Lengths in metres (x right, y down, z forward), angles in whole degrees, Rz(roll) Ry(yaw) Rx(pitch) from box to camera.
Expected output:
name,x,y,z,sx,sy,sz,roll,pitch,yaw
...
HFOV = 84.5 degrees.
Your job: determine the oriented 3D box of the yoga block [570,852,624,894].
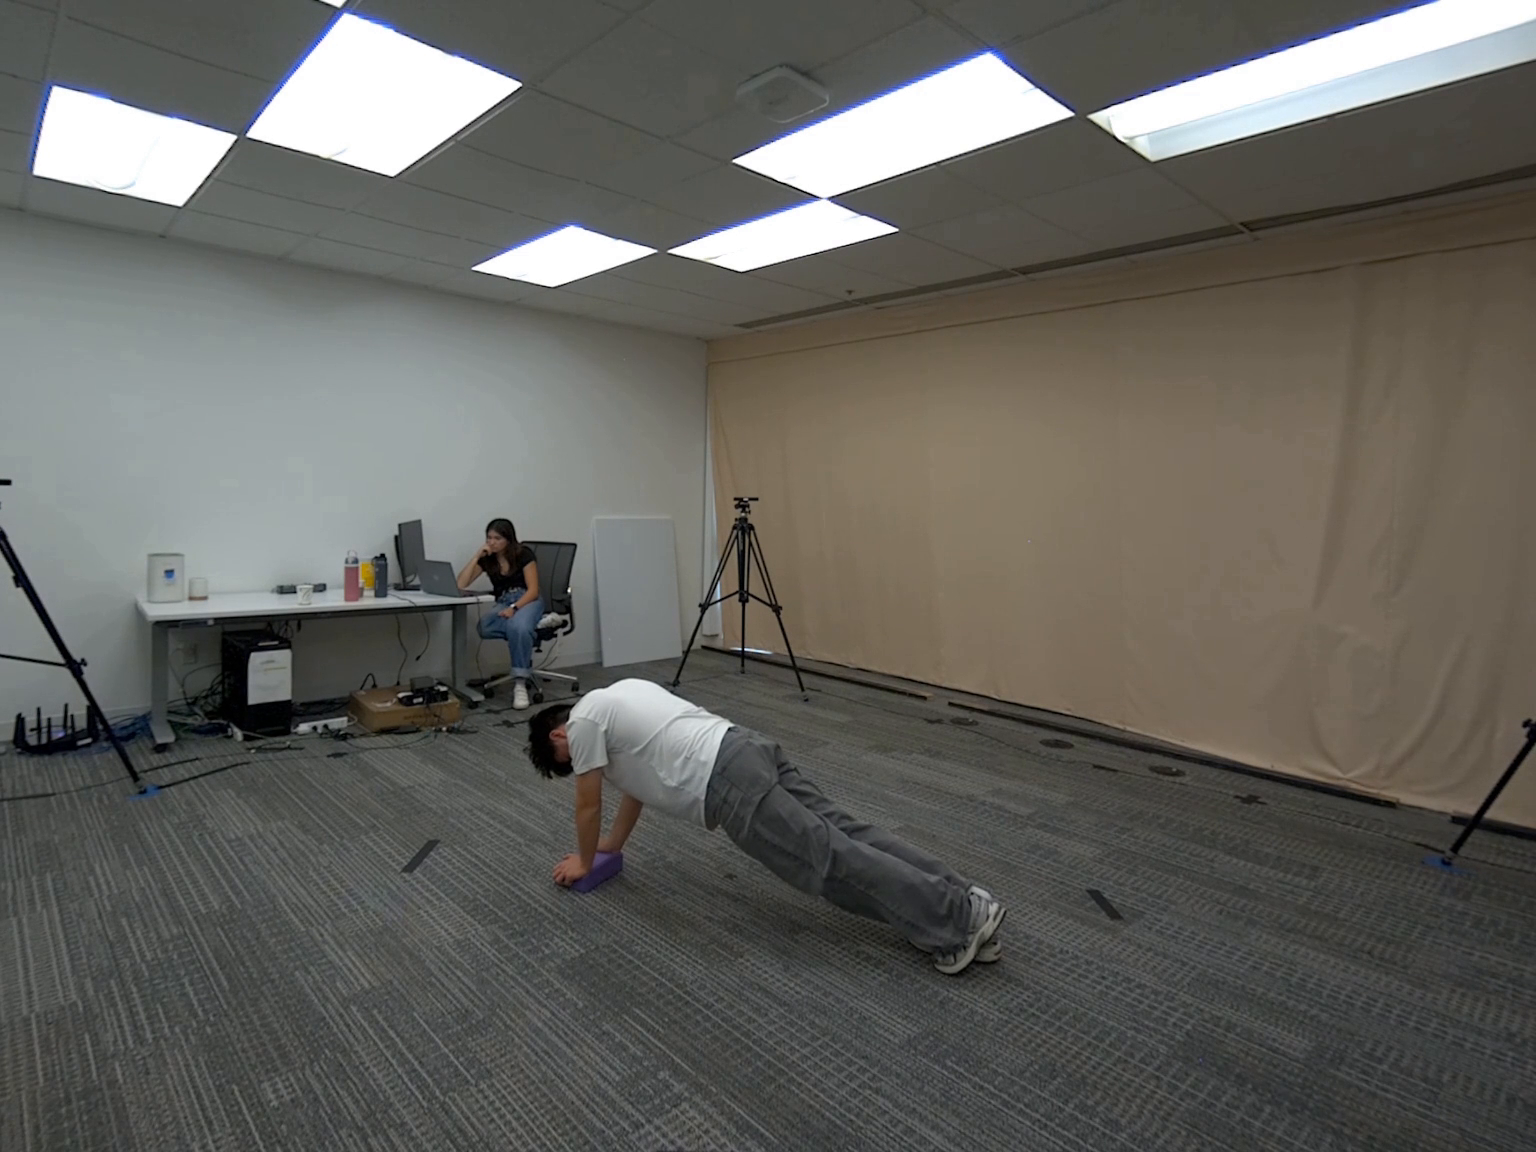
name,x,y,z,sx,sy,sz,roll,pitch,yaw
yoga block,-0.659,1.068,3.063,0.152,0.076,0.225,2,5,25
